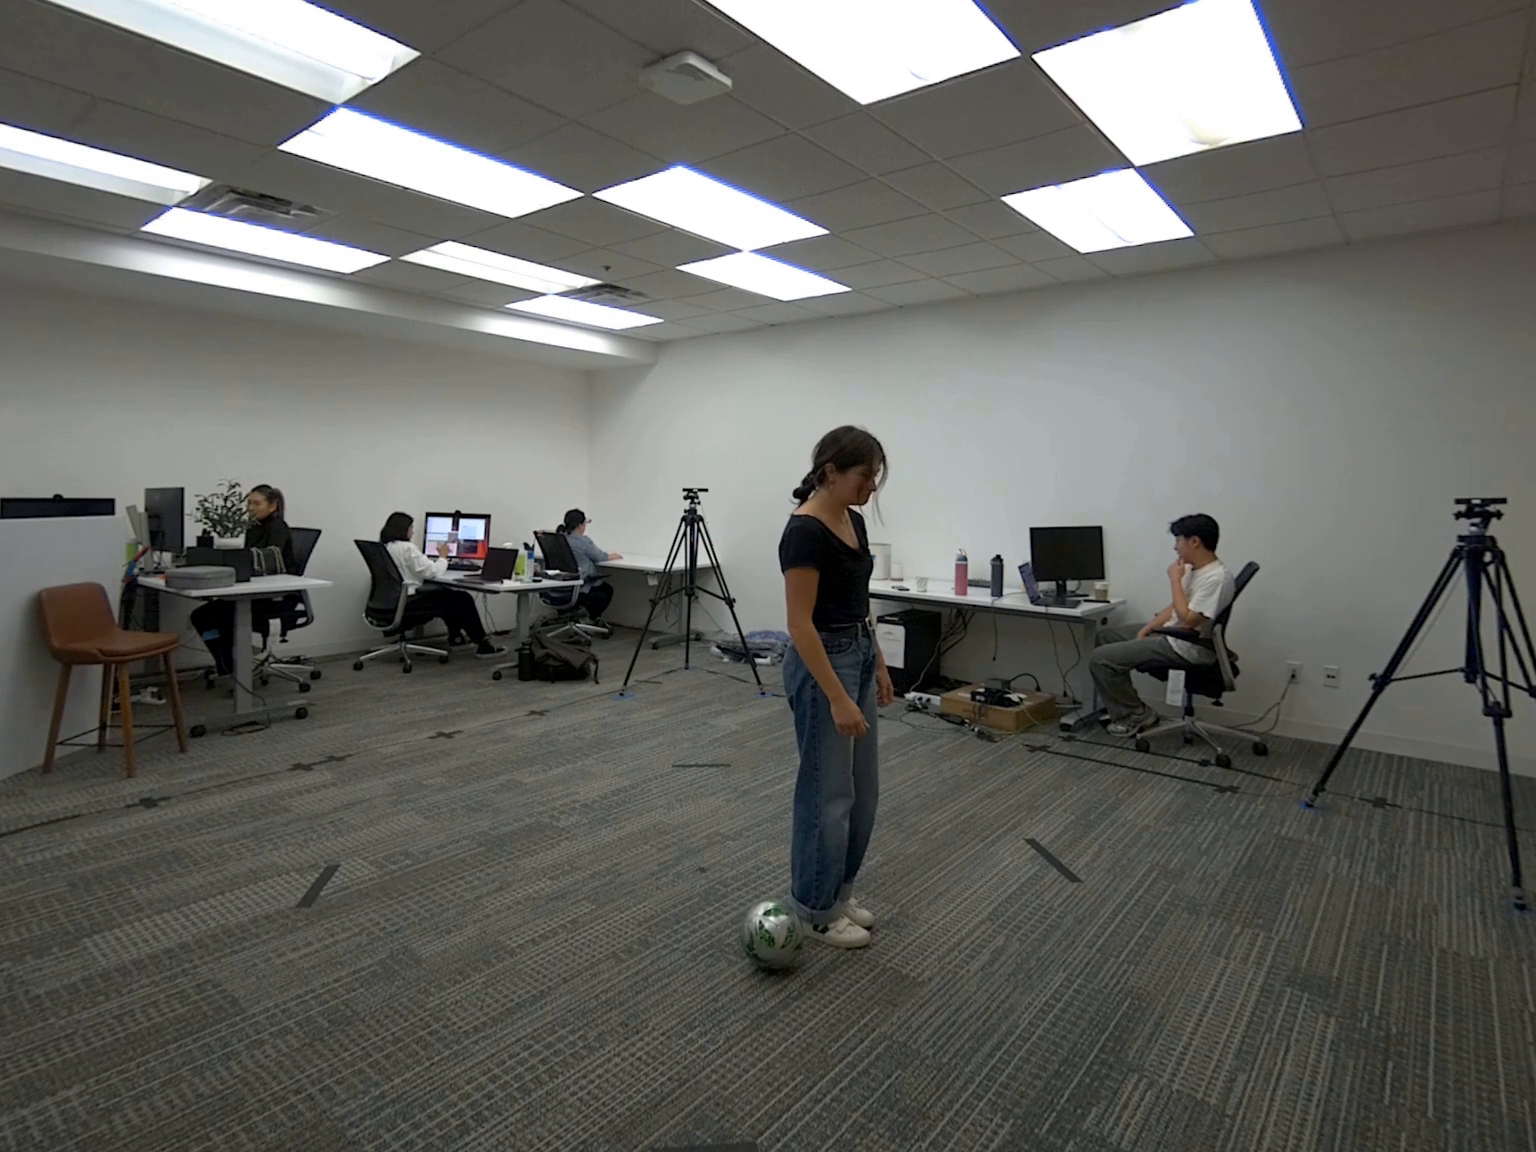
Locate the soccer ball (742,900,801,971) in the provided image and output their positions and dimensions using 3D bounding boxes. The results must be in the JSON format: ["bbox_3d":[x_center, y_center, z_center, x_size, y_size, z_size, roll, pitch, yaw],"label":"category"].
[{"bbox_3d":[0.010,1.041,2.490,0.187,0.187,0.188,1,4,-2],"label":"soccer ball"}]
